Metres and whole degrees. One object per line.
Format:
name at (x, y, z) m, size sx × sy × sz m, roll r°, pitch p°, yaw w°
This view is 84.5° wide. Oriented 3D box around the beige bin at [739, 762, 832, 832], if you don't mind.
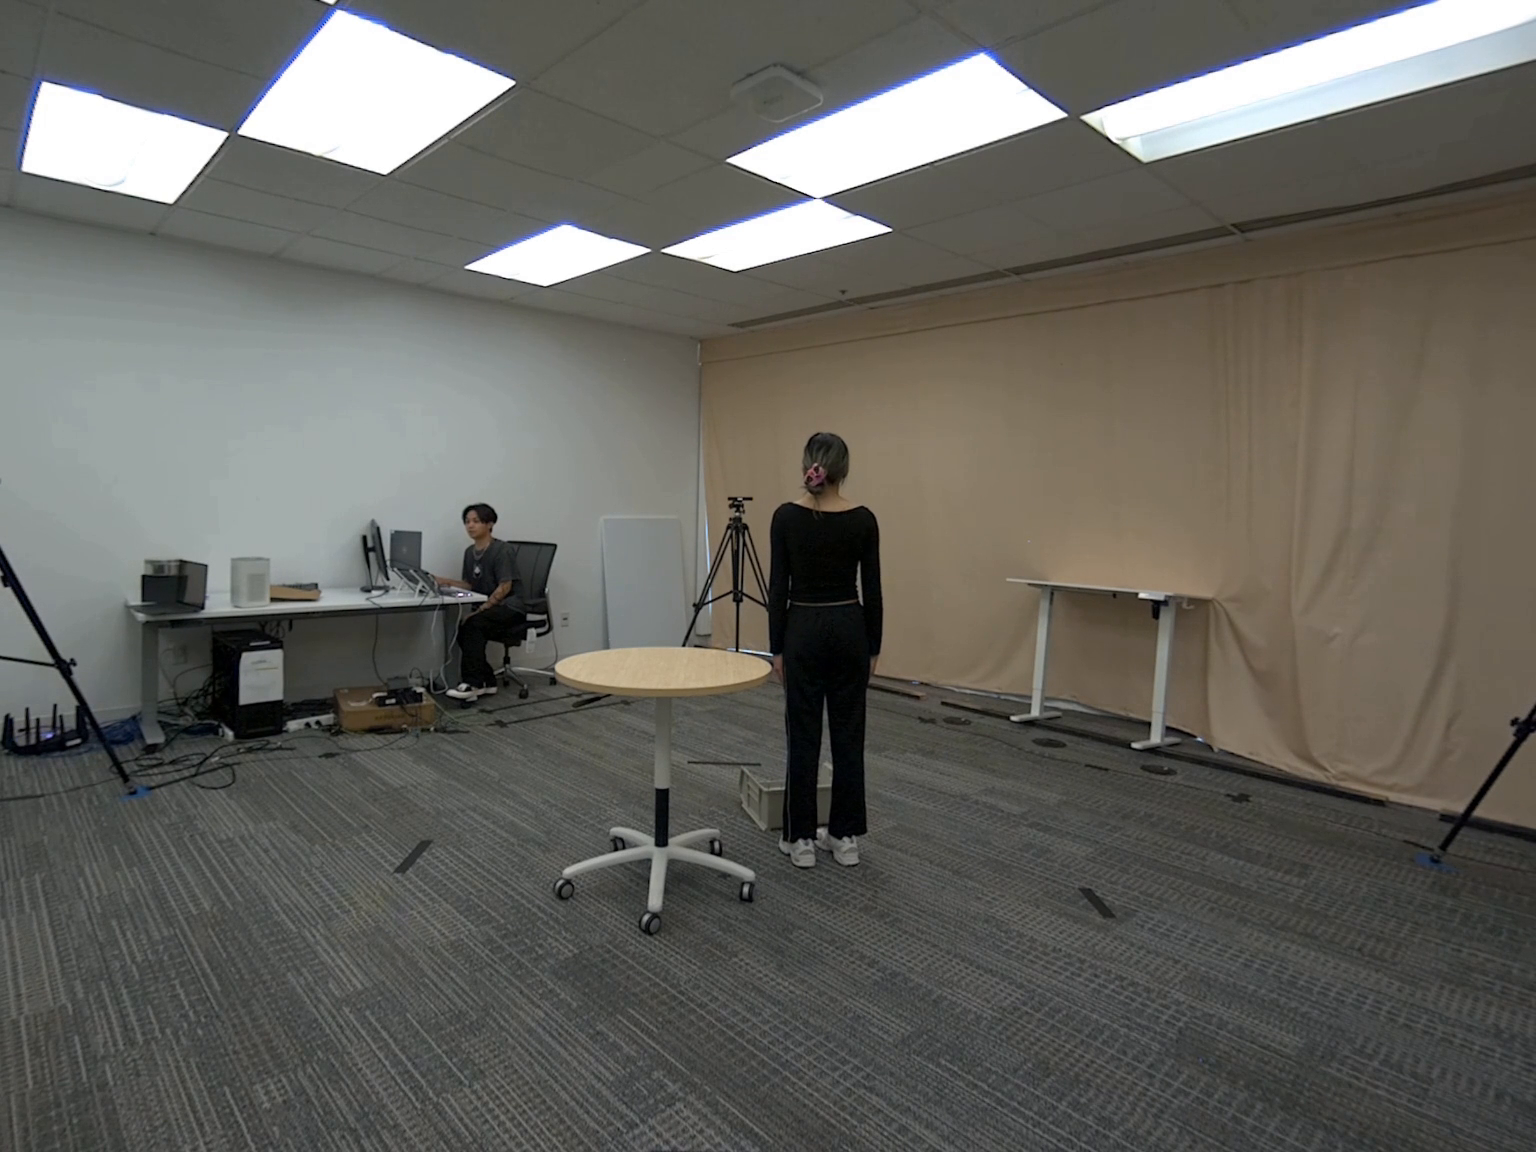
beige bin at (0.117, 0.959, 3.755) m, size 0.417 × 0.188 × 0.384 m, roll 0°, pitch 6°, yaw -17°
